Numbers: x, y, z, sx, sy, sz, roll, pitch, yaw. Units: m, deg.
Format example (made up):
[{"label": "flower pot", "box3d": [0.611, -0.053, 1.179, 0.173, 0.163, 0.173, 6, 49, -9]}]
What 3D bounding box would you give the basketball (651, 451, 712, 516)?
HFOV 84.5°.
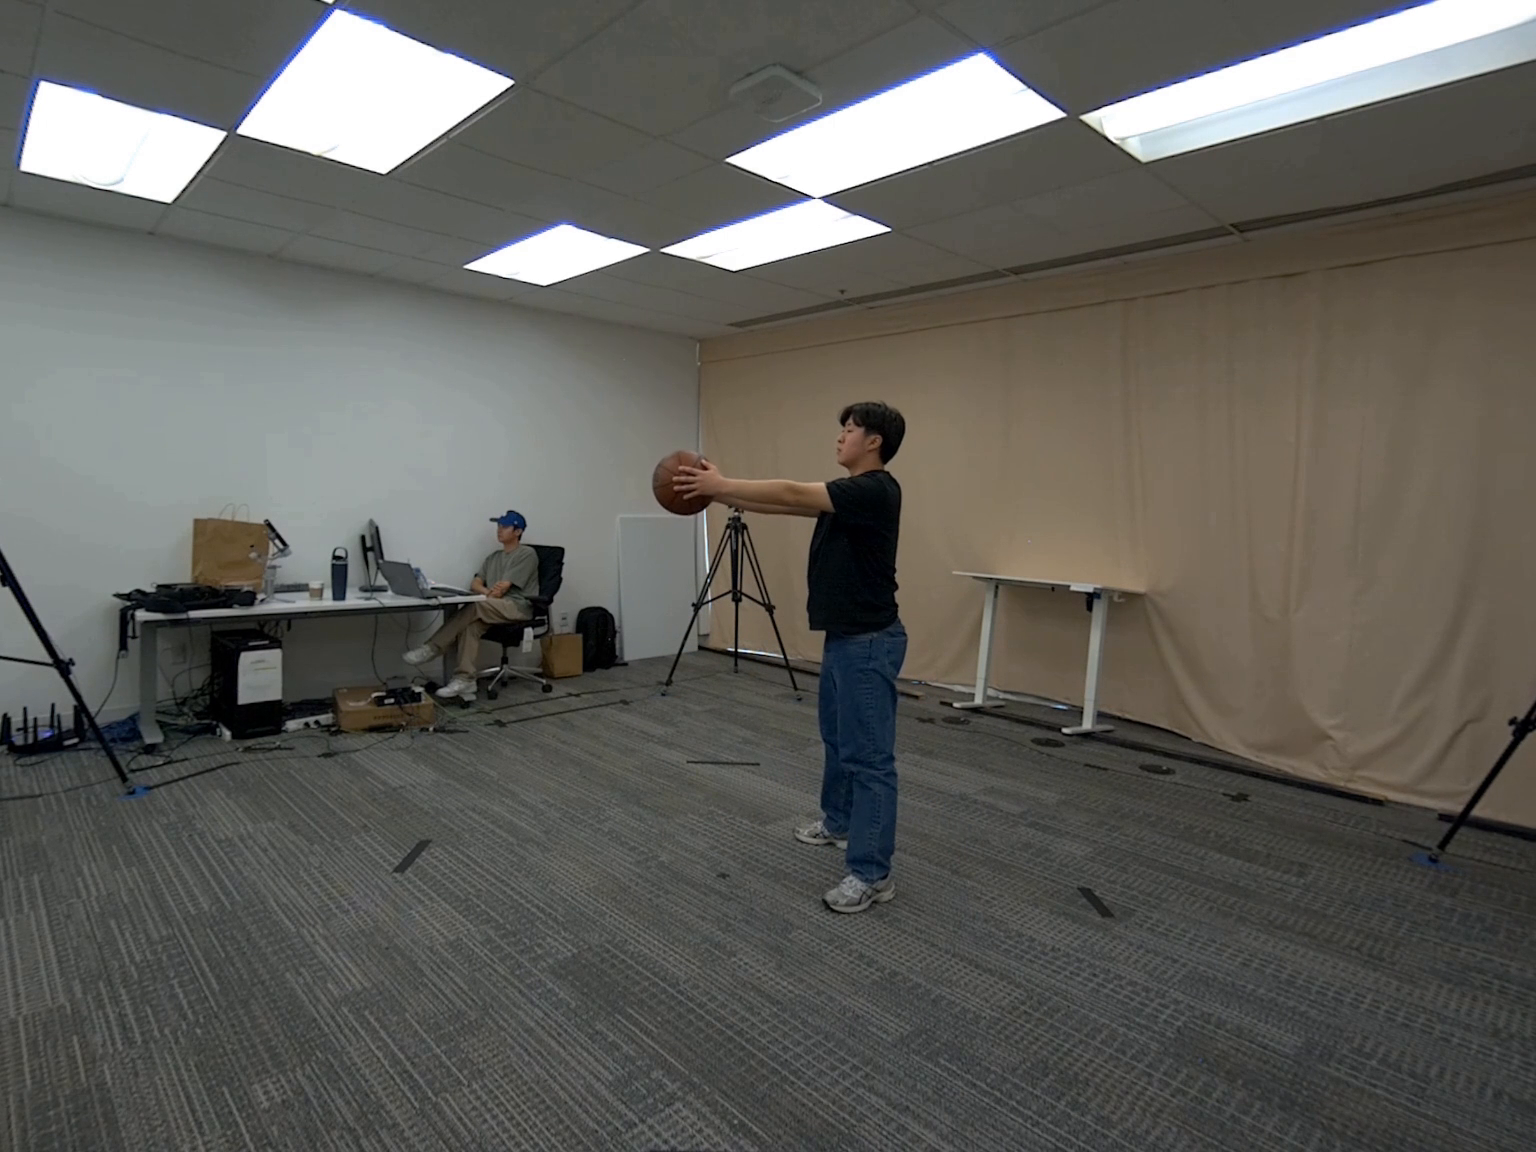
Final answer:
[{"label": "basketball", "box3d": [-0.305, -0.330, 3.061, 0.236, 0.235, 0.237, 1, 4, -1]}]
